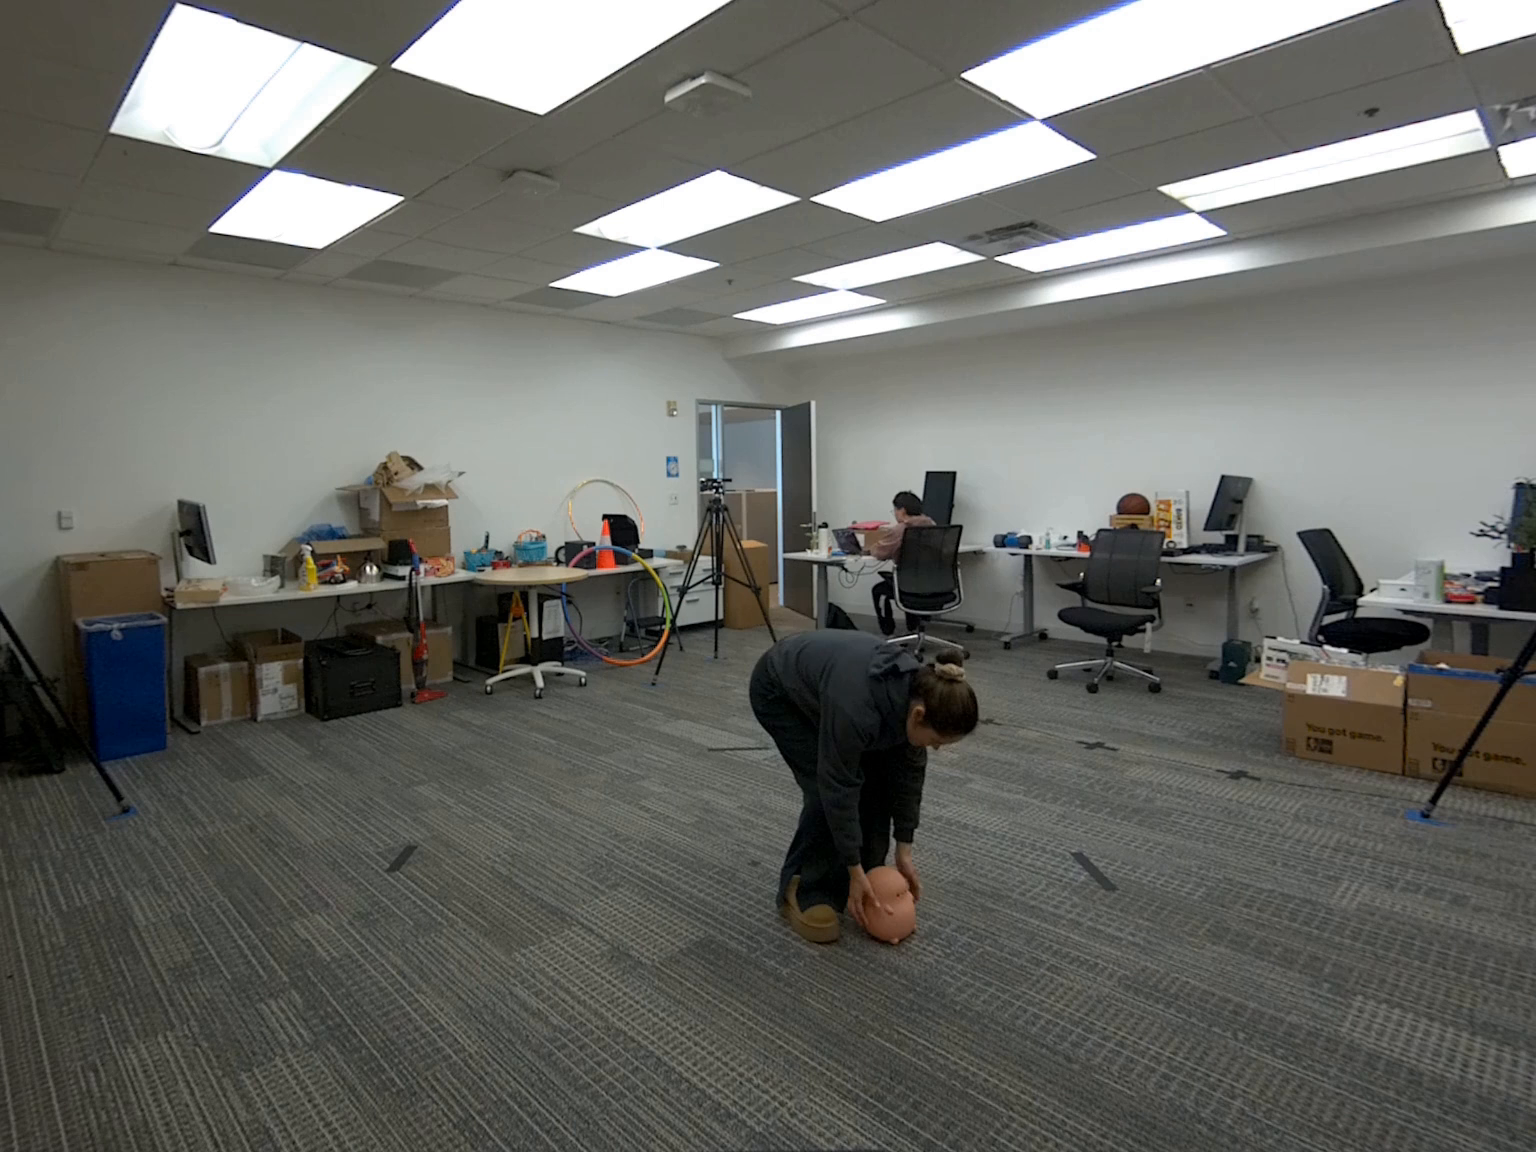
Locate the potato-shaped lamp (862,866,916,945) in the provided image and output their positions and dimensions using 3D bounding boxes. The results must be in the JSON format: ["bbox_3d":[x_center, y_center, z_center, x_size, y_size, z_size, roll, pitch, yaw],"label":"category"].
[{"bbox_3d":[0.359,0.994,2.600,0.160,0.197,0.176,-4,5,-44],"label":"potato-shaped lamp"}]
